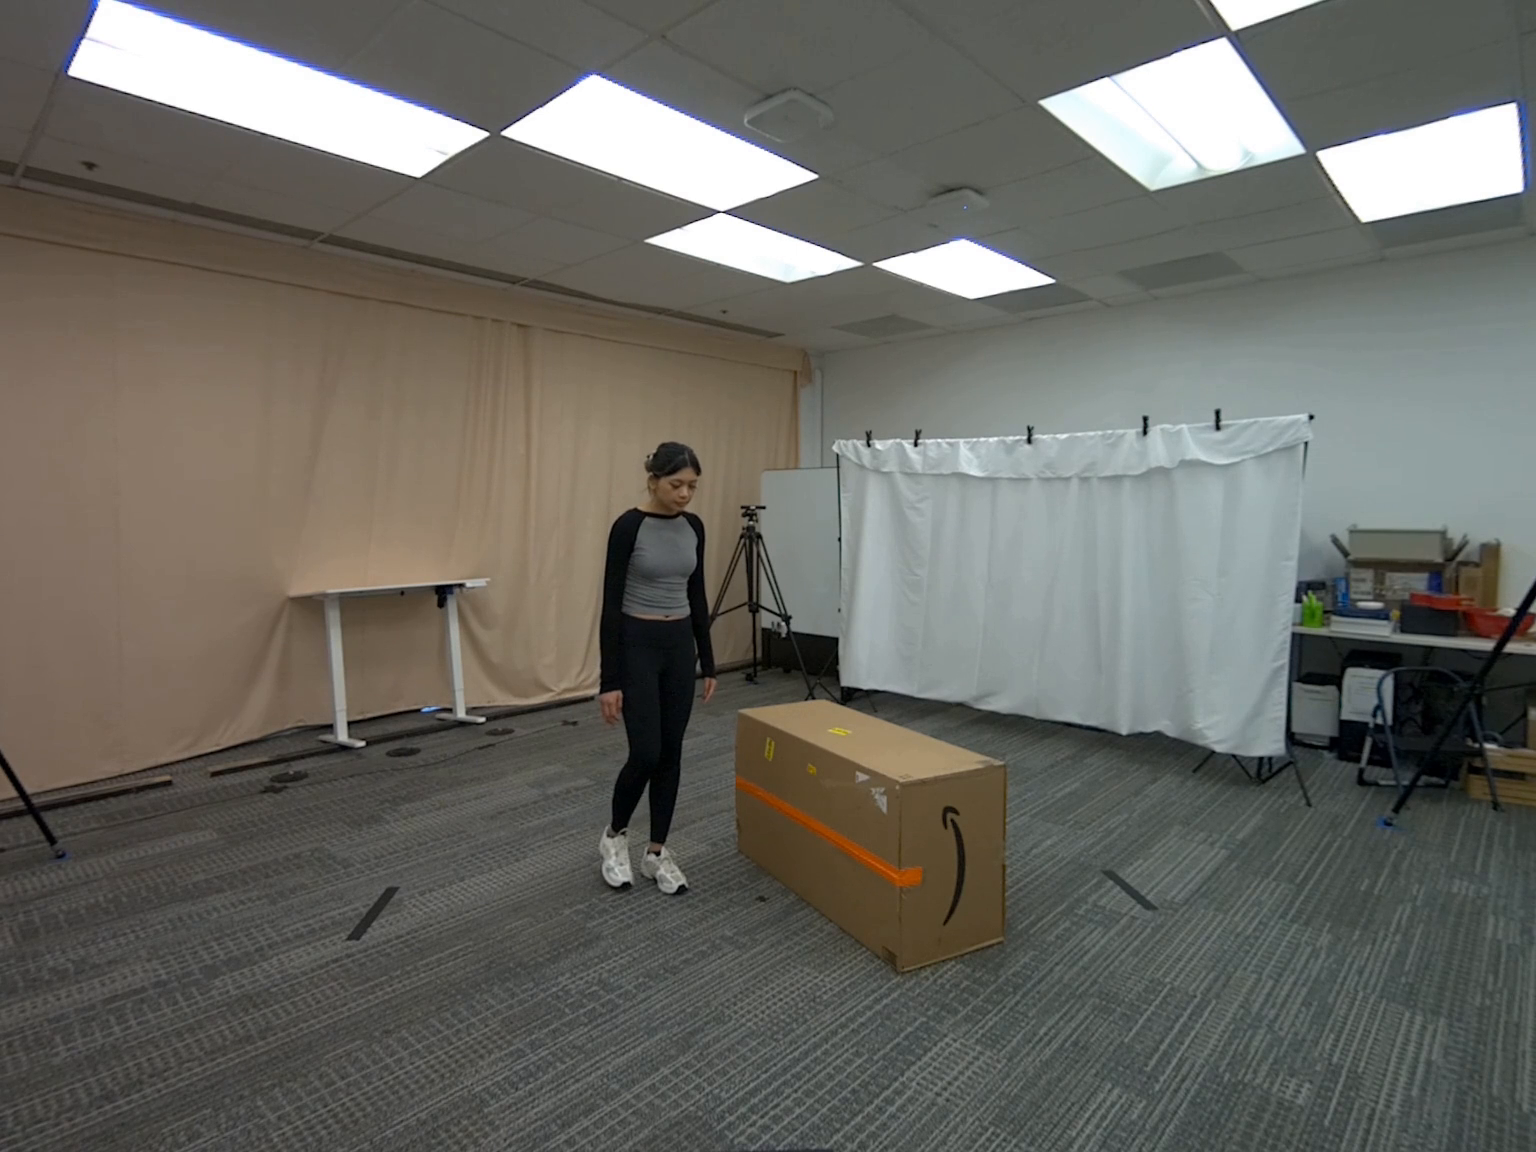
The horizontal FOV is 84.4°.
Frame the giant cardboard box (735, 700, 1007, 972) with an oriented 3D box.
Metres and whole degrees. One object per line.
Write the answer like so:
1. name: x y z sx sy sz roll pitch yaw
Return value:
1. giant cardboard box: 0.316 0.850 3.033 0.415 0.576 1.055 -2 4 -29
